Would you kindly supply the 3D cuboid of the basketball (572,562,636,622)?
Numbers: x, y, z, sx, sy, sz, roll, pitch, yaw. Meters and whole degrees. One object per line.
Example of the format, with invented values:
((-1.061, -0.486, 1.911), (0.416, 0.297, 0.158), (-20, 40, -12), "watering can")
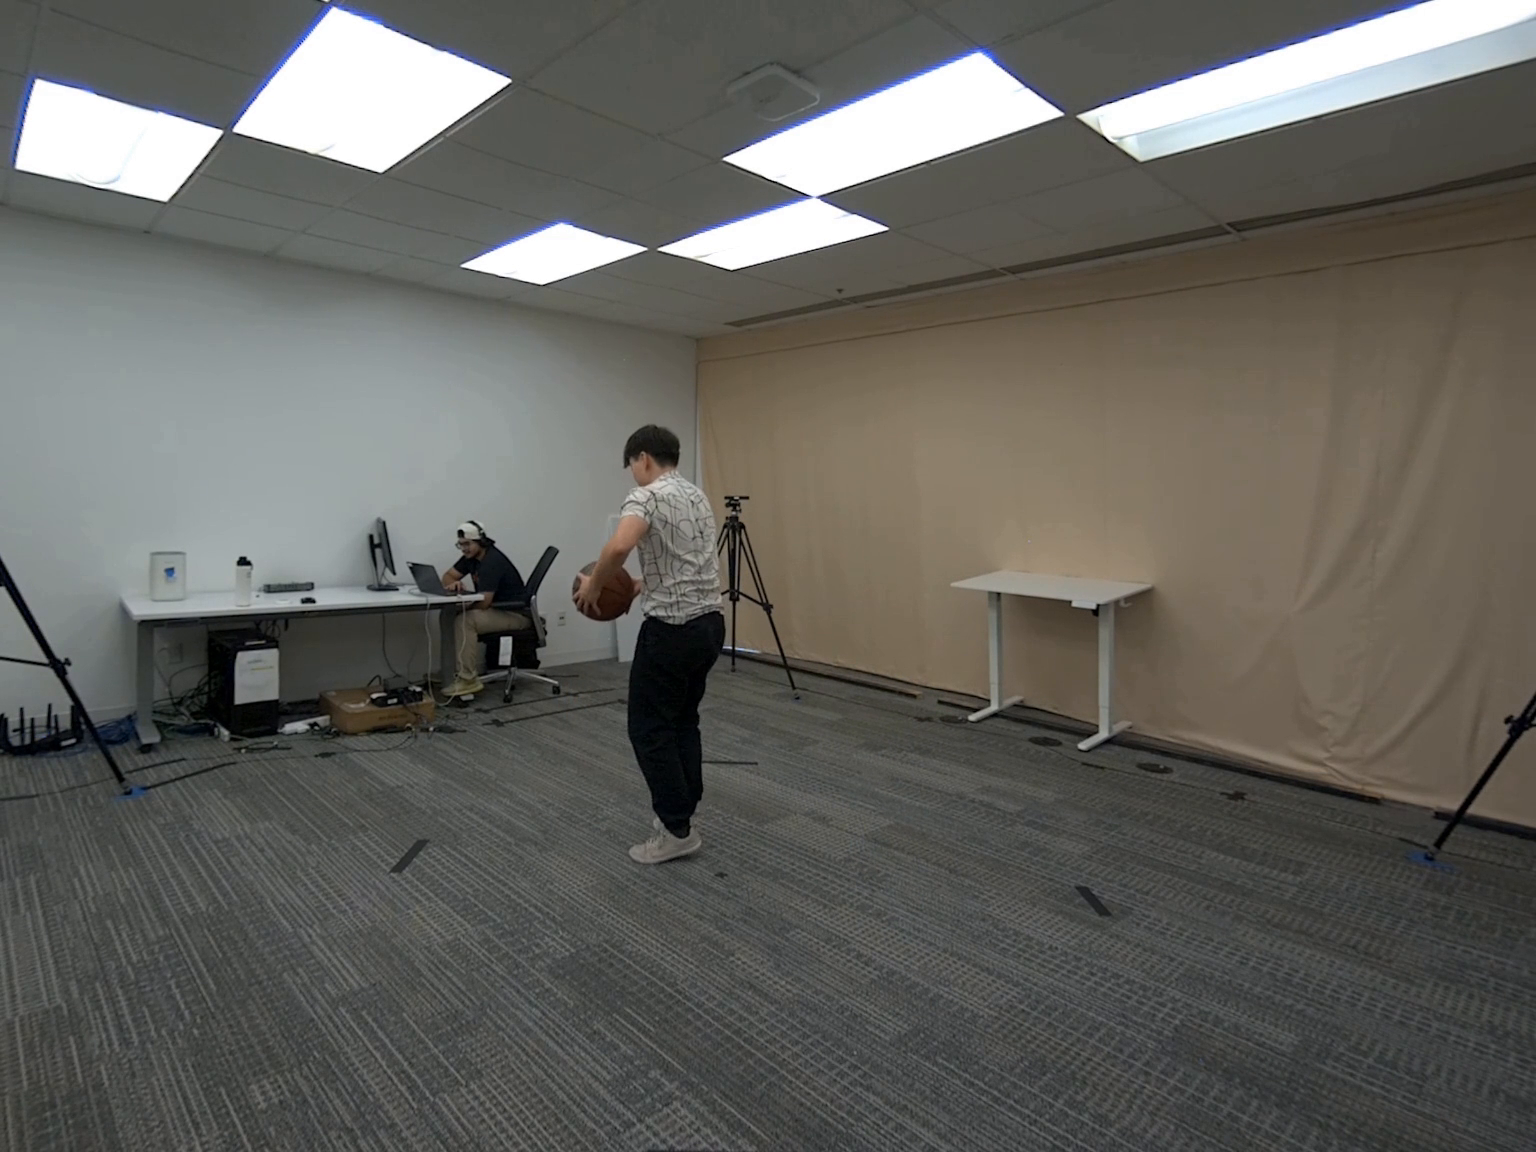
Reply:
((-0.645, 0.084, 3.290), (0.236, 0.235, 0.237), (1, 4, -1), "basketball")
